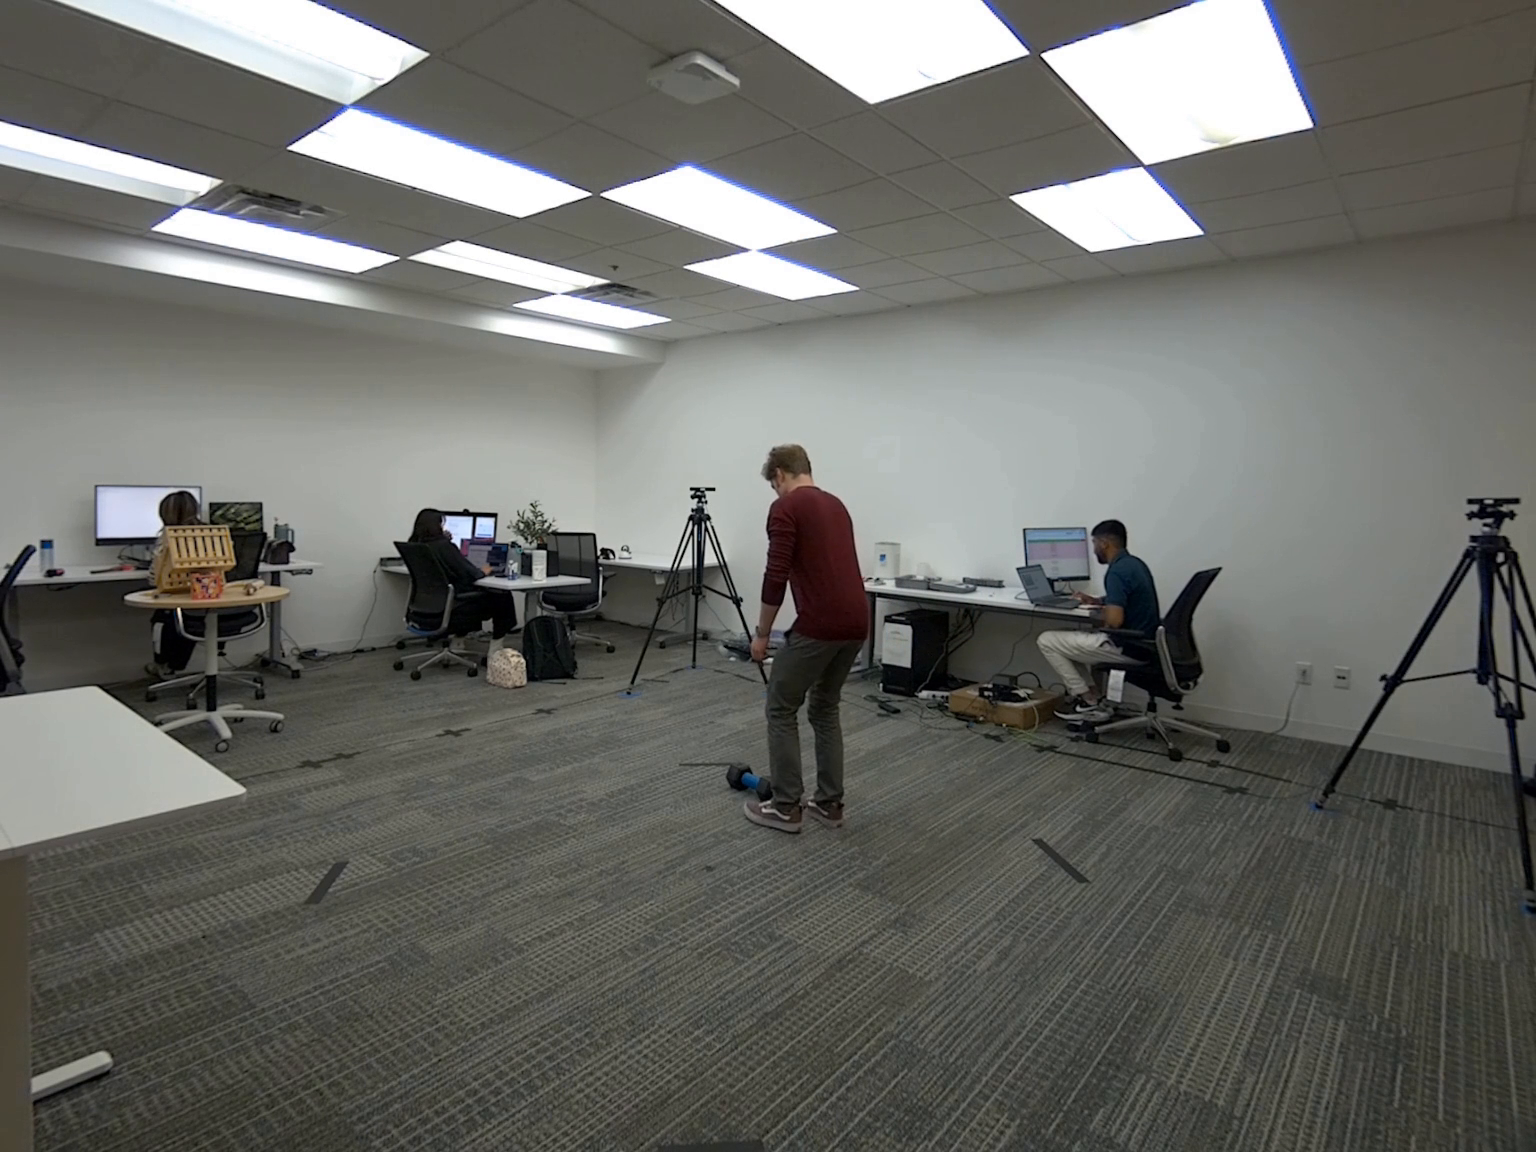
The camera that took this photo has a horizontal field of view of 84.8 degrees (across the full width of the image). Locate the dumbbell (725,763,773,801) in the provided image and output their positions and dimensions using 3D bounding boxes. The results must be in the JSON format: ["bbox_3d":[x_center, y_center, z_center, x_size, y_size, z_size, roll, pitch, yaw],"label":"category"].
[{"bbox_3d":[-0.068,0.942,3.893,0.304,0.124,0.104,7,-25,50],"label":"dumbbell"}]
